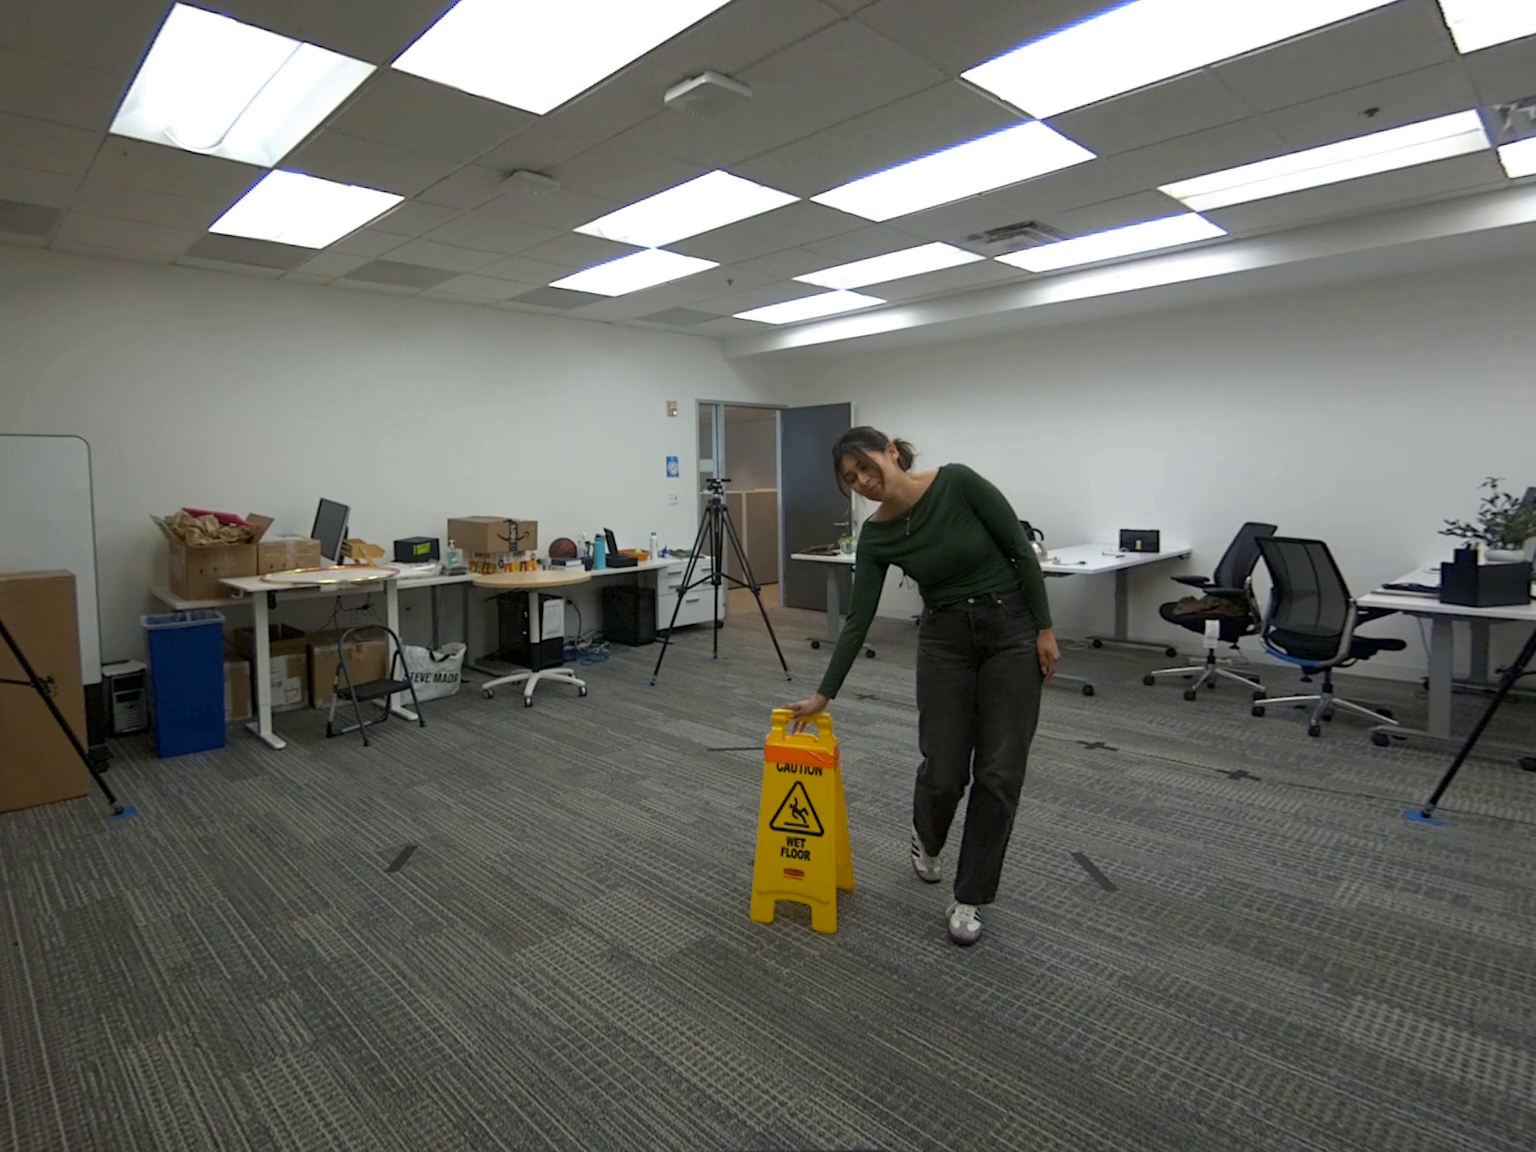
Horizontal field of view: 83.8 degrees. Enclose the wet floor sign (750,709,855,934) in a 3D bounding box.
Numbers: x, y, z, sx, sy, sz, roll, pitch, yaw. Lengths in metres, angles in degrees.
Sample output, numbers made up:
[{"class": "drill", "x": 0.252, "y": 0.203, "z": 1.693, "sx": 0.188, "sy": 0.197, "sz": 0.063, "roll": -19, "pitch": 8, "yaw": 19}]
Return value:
[{"class": "wet floor sign", "x": 0.118, "y": 0.756, "z": 2.783, "sx": 0.287, "sy": 0.644, "sz": 0.285, "roll": 2, "pitch": 4, "yaw": 18}]
